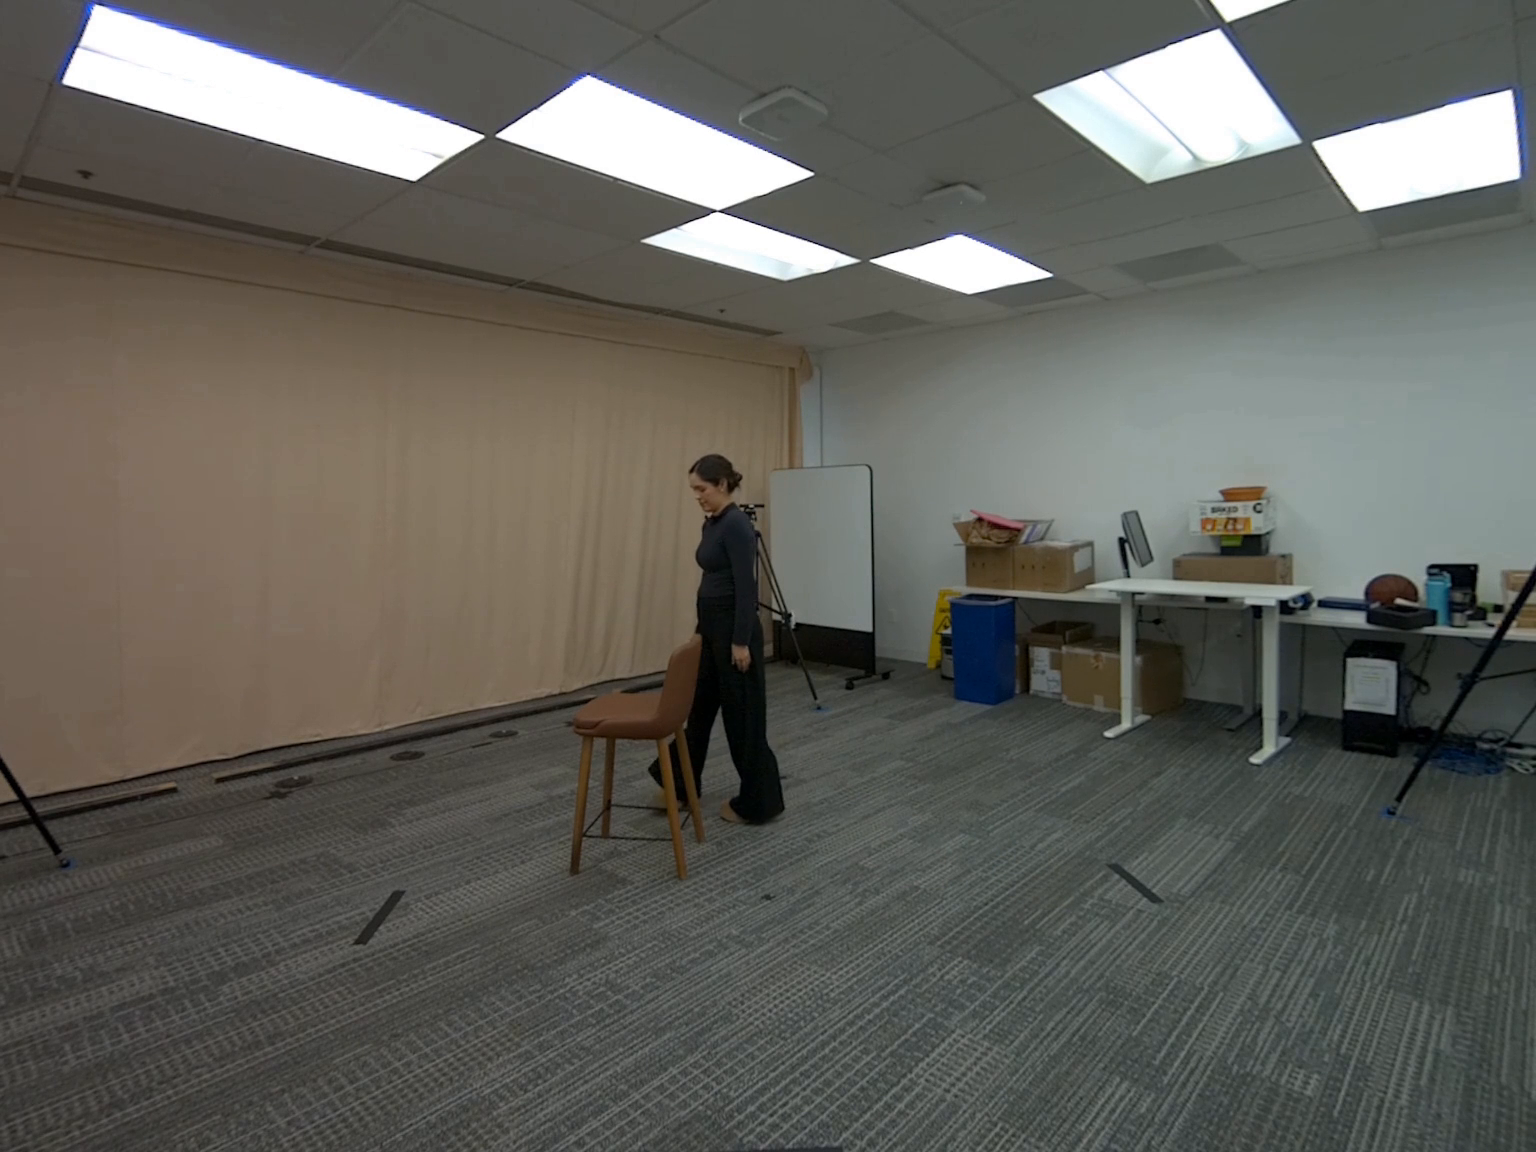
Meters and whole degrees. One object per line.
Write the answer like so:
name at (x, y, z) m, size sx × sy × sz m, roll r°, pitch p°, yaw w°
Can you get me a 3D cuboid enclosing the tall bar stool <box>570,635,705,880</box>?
tall bar stool at (-0.512, 0.687, 3.338) m, size 0.473 × 0.888 × 0.452 m, roll 1°, pitch 4°, yaw 10°
